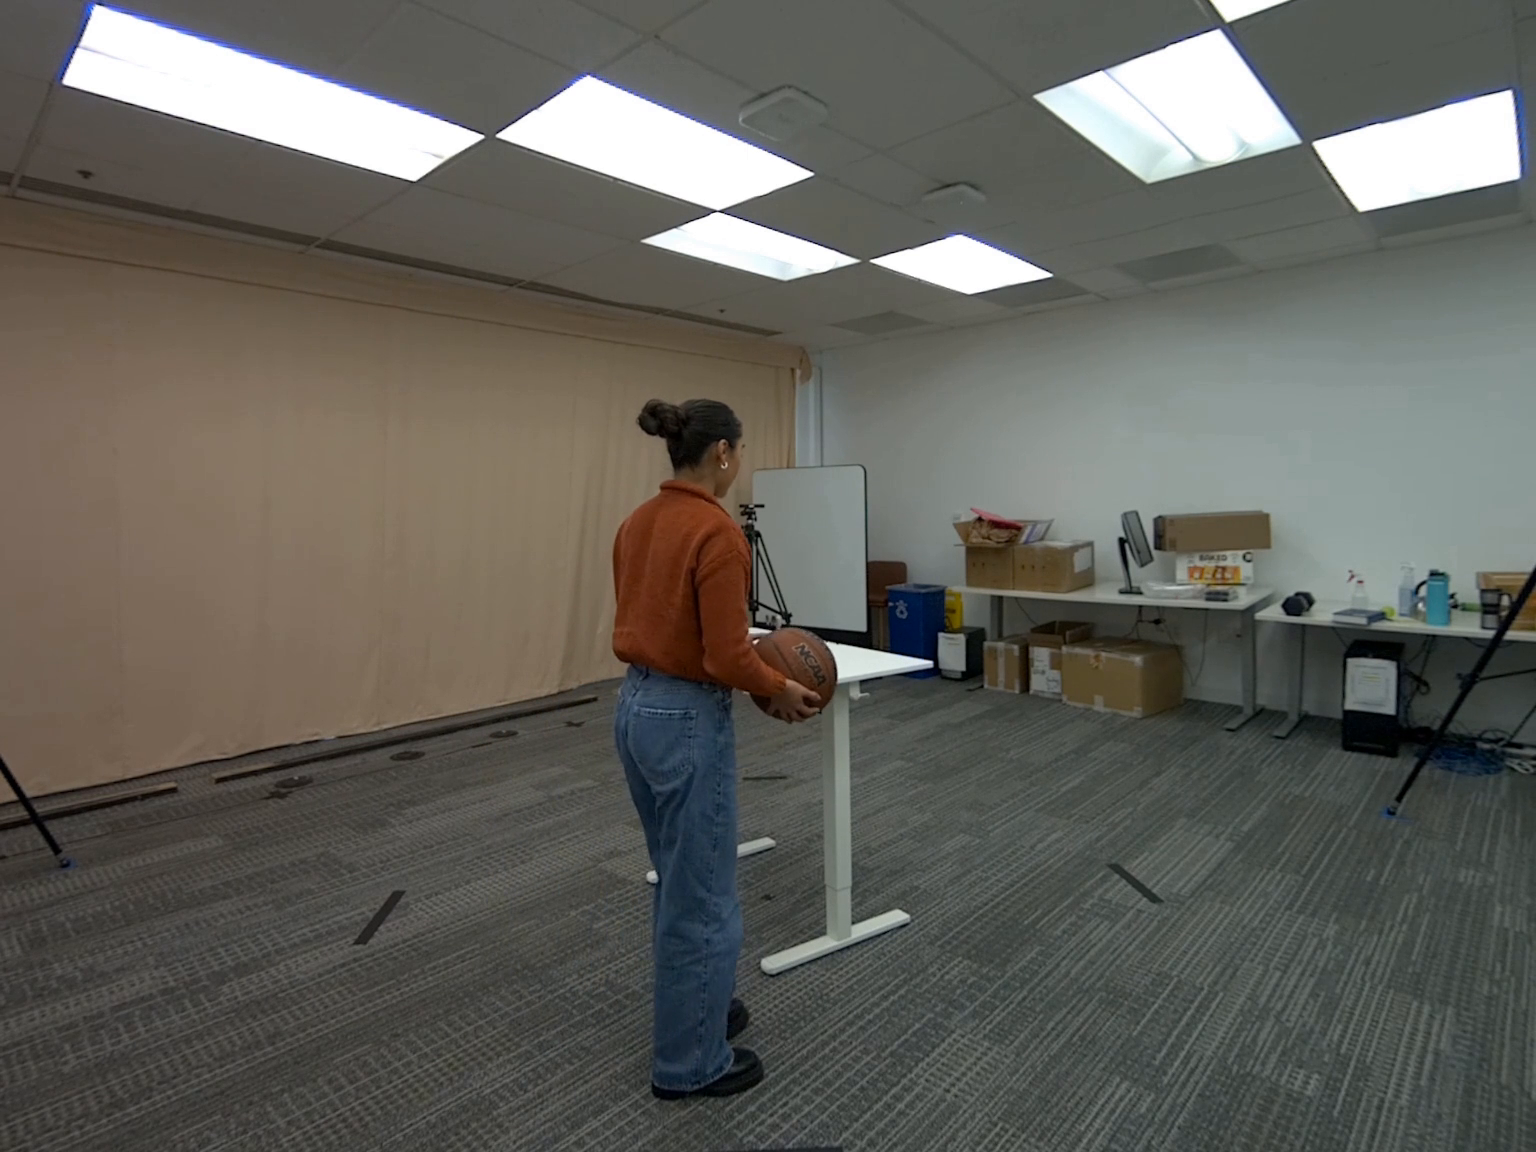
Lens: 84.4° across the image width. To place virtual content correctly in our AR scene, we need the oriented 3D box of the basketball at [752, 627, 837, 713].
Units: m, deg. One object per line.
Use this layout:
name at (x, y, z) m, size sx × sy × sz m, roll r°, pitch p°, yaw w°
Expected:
basketball at (0.057, 0.249, 2.145) m, size 0.236 × 0.235 × 0.237 m, roll -1°, pitch 4°, yaw -2°
